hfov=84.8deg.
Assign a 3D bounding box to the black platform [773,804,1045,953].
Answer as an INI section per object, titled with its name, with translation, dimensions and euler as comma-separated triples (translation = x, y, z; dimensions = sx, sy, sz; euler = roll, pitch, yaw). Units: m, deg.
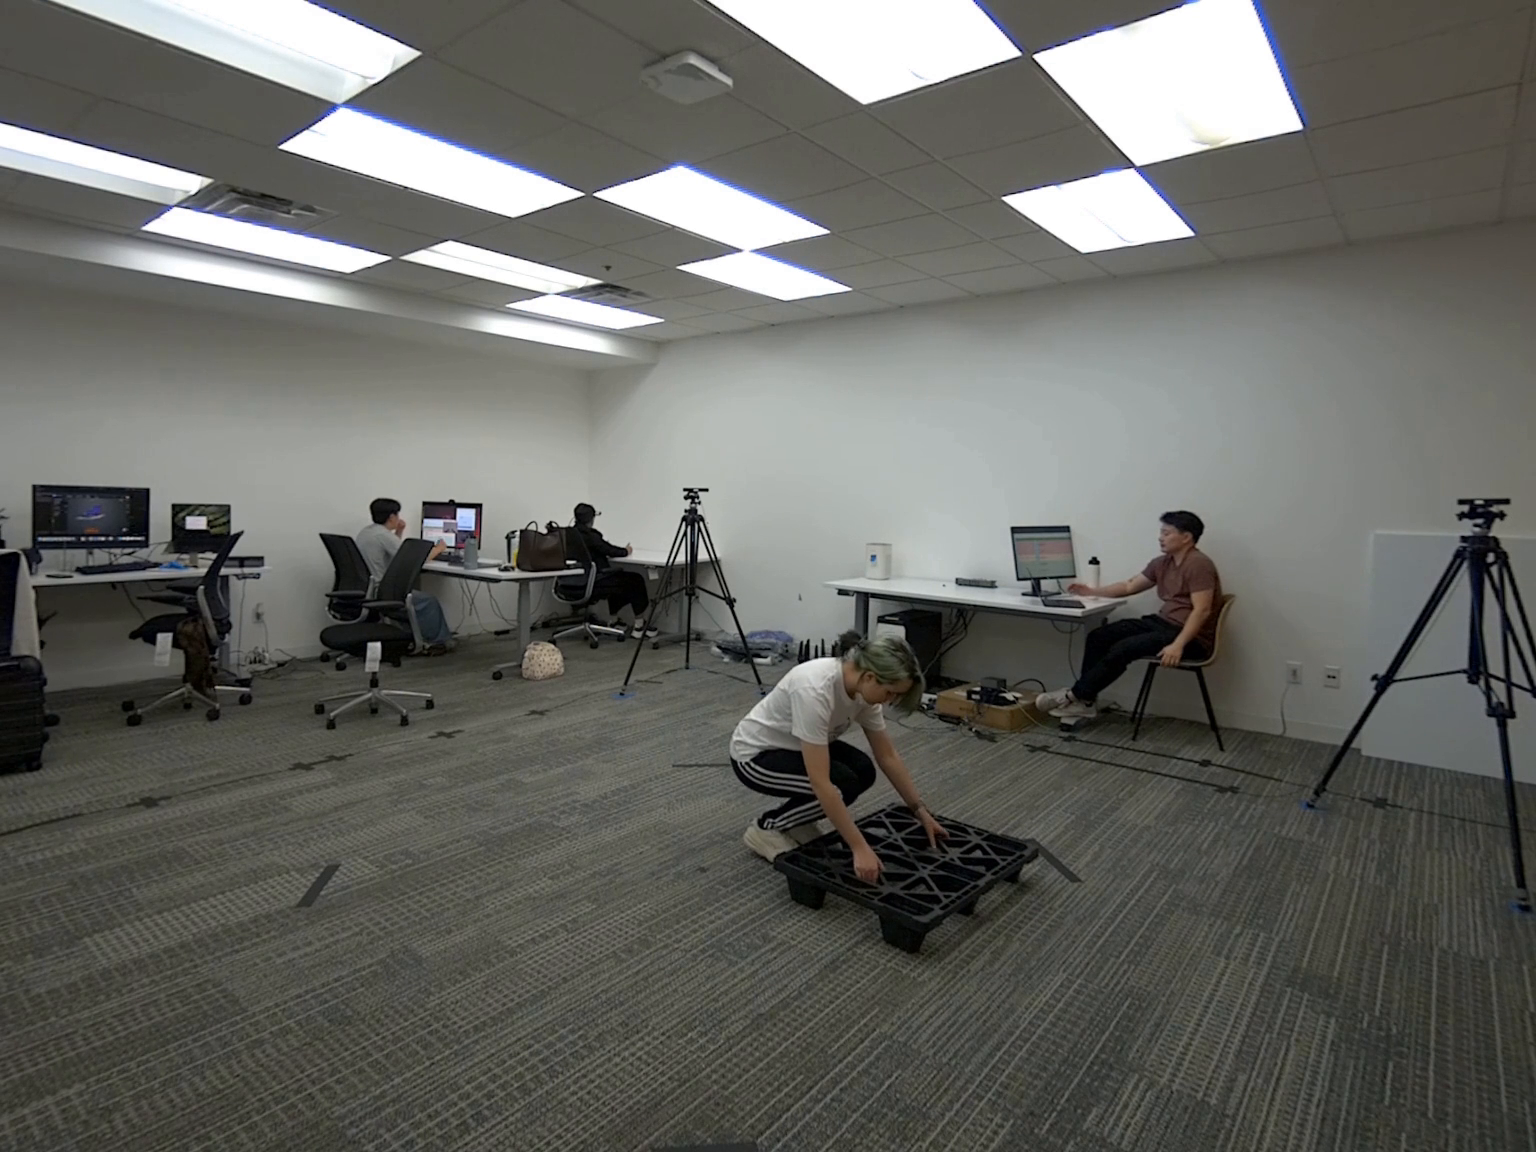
[black platform]
translation = 0.482, 1.032, 2.981
dimensions = 0.626, 0.143, 0.781
euler = 6, 7, 42
